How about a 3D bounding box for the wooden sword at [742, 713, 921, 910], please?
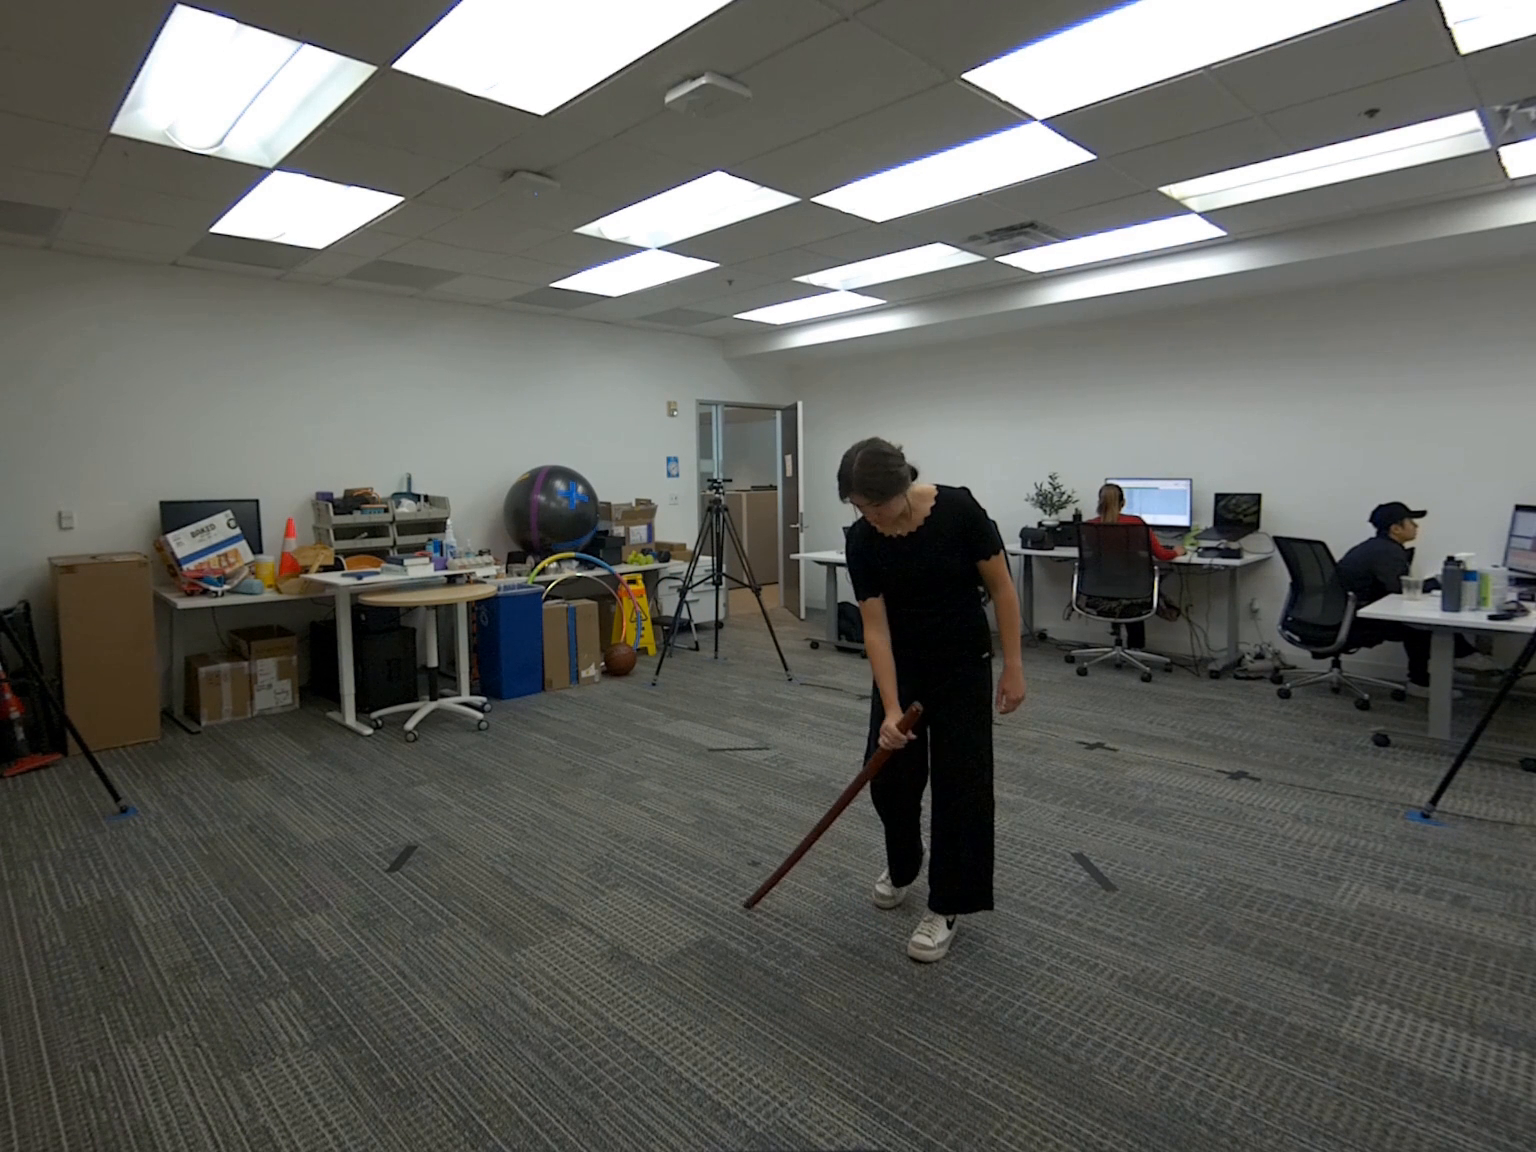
[{"bbox_3d":[0.179,0.745,2.511,0.051,1.019,0.024,38,33,2],"label":"wooden sword"}]
